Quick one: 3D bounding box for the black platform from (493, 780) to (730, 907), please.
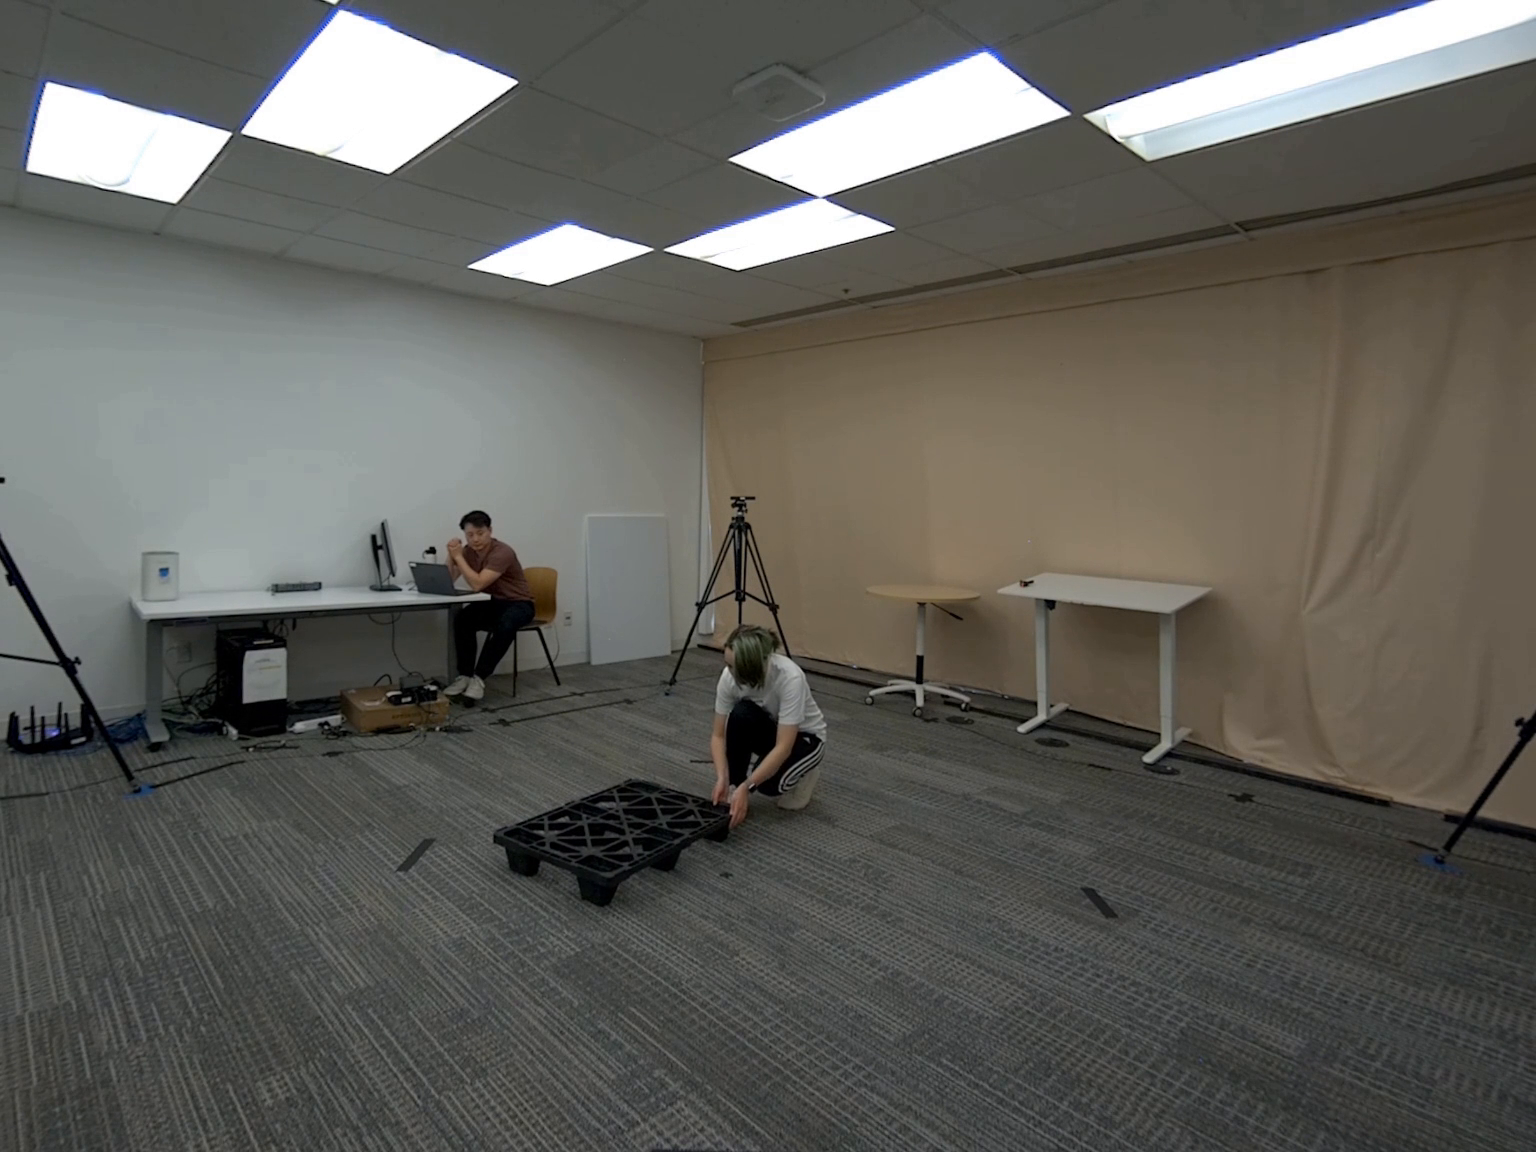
[{"bbox_3d":[-0.572,1.014,3.261,0.619,0.143,0.789,4,6,33],"label":"black platform"}]
